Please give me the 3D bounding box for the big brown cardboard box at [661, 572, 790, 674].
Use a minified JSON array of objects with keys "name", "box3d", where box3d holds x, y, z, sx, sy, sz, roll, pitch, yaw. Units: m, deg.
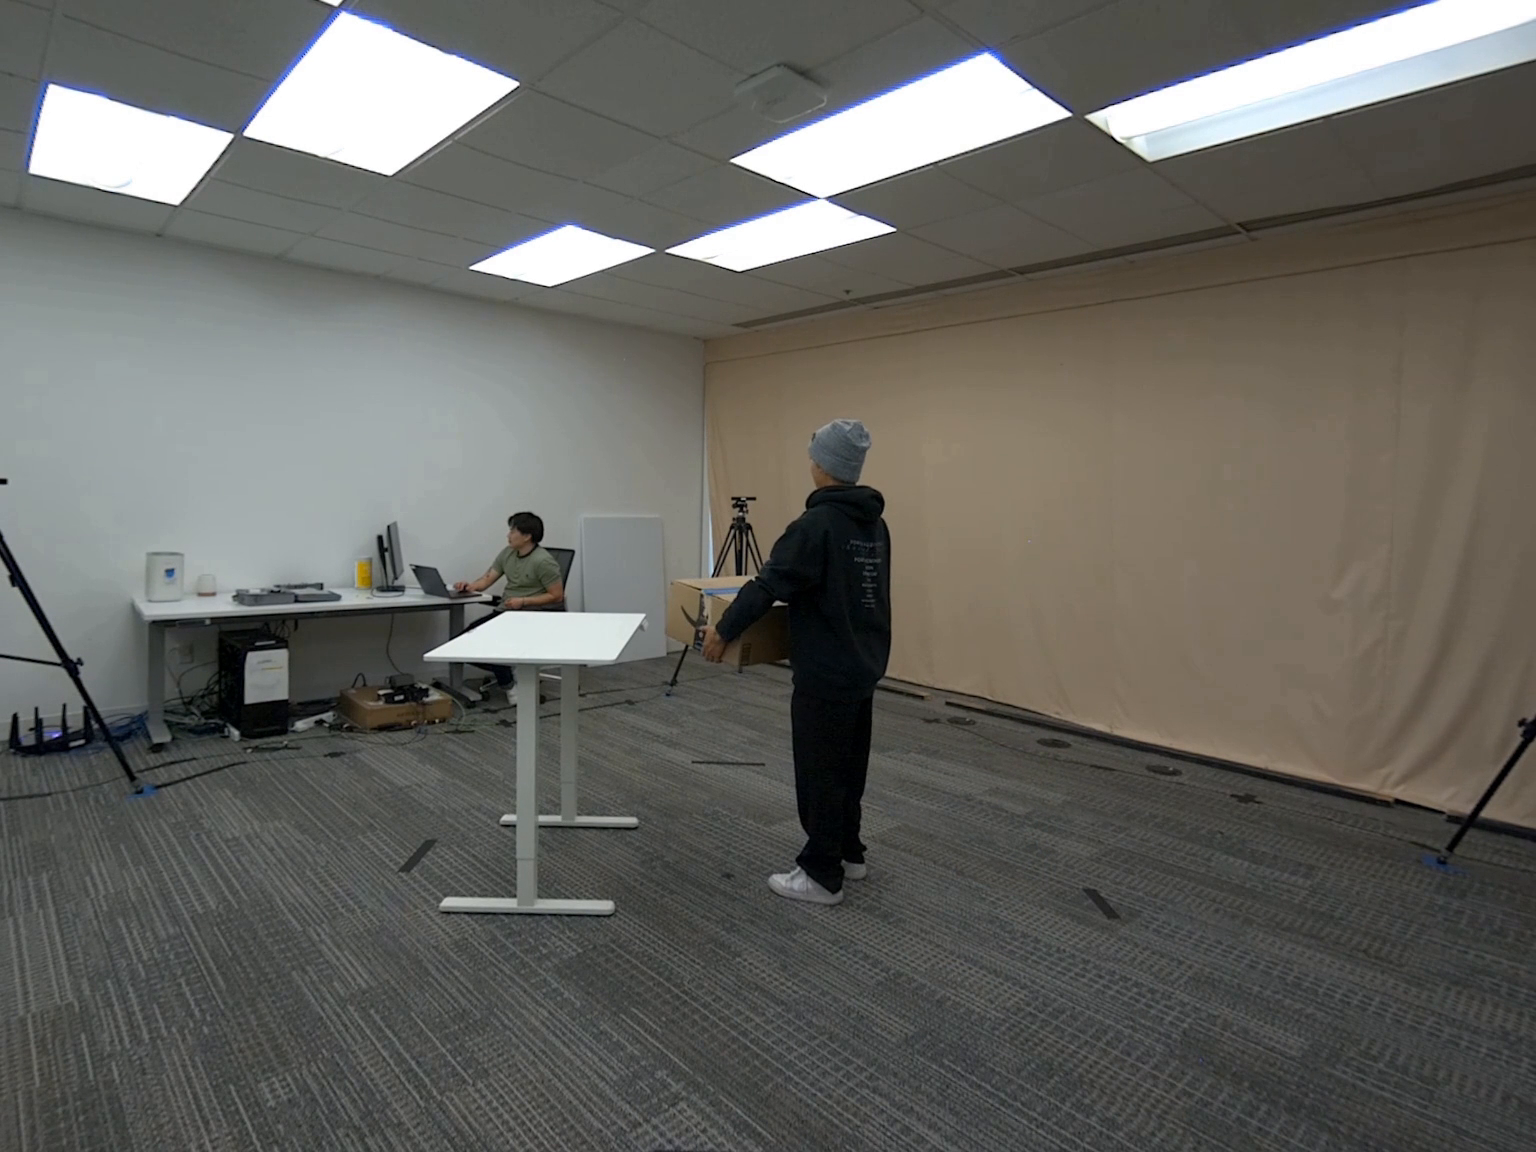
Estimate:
[{"name":"big brown cardboard box","box3d":[-0.038,0.157,3.237,0.576,0.231,0.430,-4,16,-45]}]
